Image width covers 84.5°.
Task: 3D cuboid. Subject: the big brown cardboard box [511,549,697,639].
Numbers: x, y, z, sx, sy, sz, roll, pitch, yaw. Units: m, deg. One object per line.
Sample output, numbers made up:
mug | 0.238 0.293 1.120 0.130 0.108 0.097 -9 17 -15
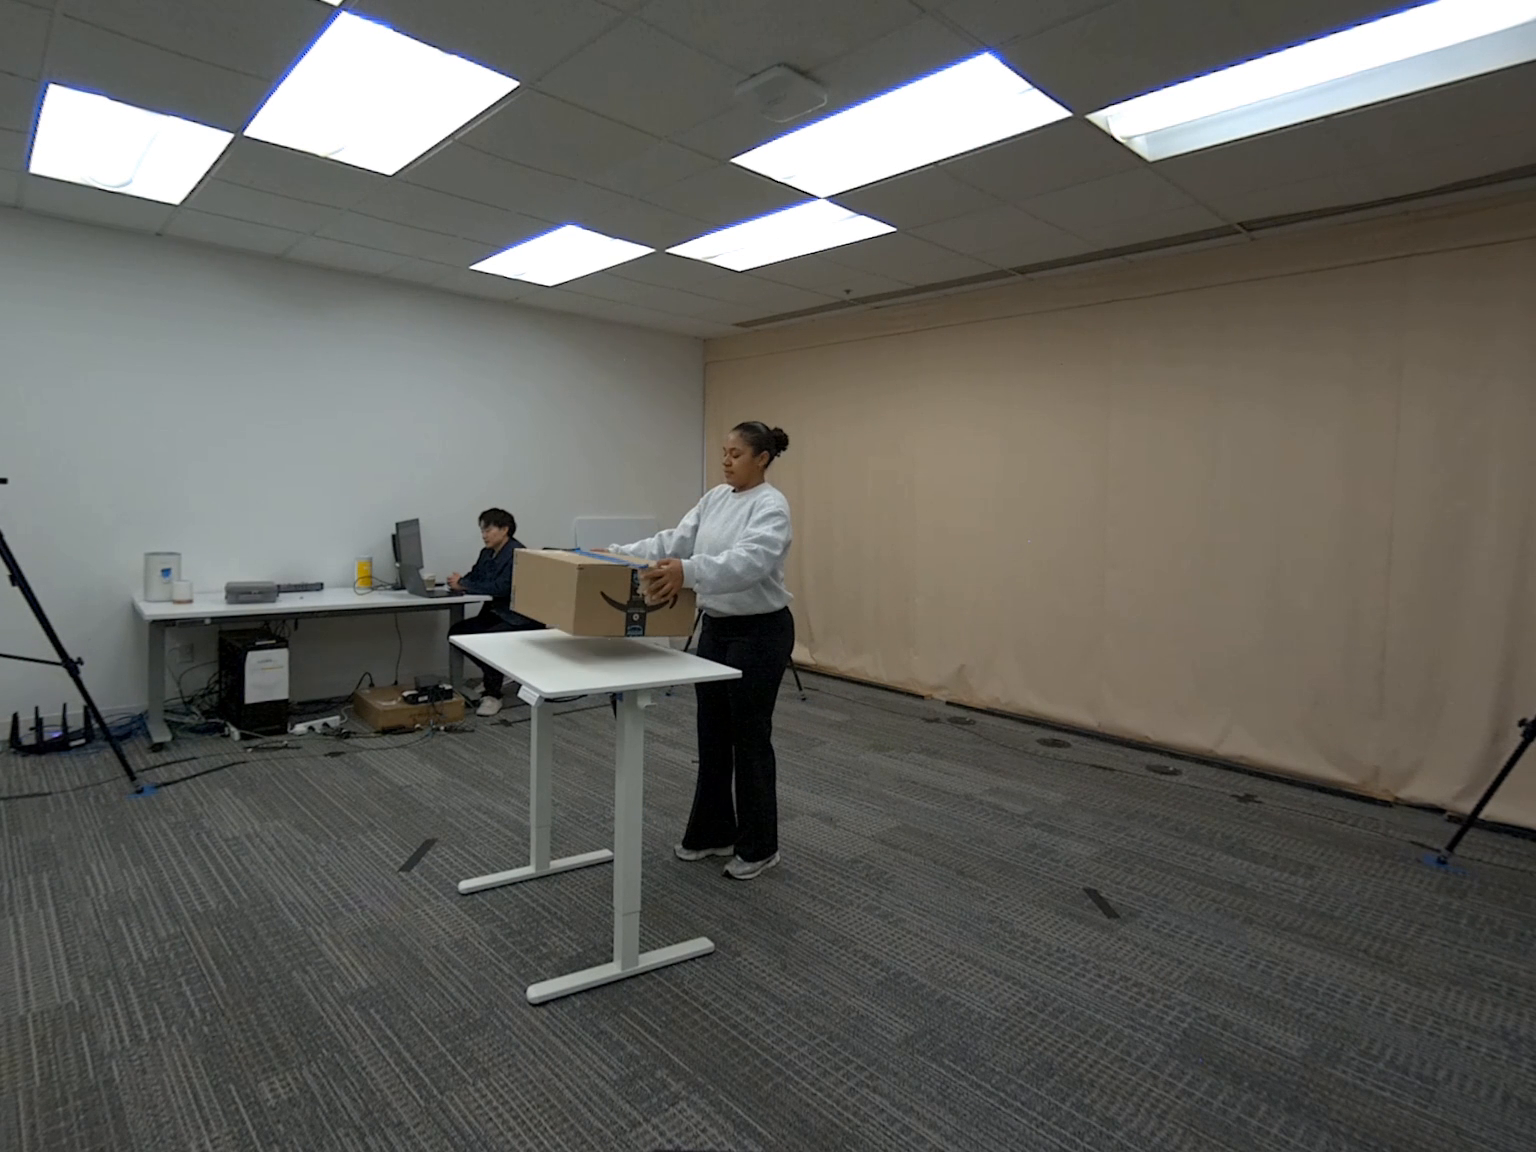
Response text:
big brown cardboard box | -0.567 0.048 2.824 0.408 0.232 0.604 3 5 -35
